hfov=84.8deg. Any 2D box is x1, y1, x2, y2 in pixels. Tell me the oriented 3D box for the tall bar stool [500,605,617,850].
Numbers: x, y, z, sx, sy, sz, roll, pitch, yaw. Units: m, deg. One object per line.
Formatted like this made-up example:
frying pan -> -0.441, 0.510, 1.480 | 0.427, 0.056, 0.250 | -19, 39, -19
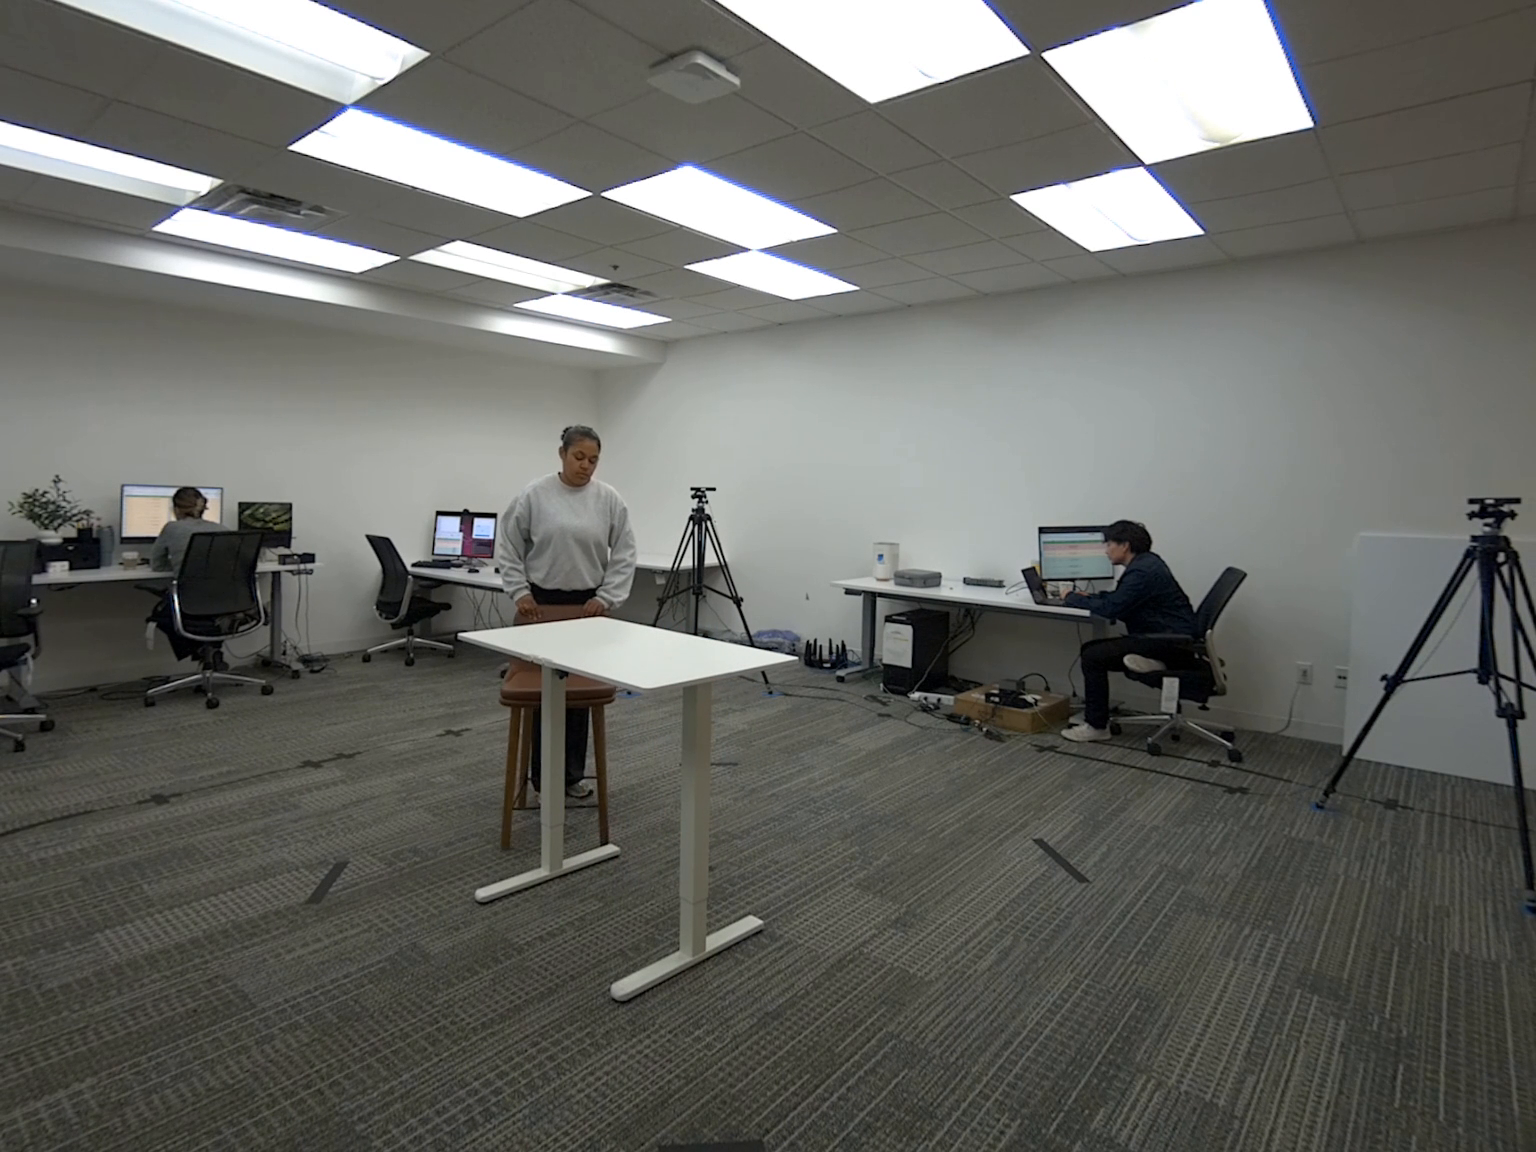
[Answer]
tall bar stool -> -0.860, 0.584, 3.467 | 0.452, 0.890, 0.472 | 1, 0, -9
